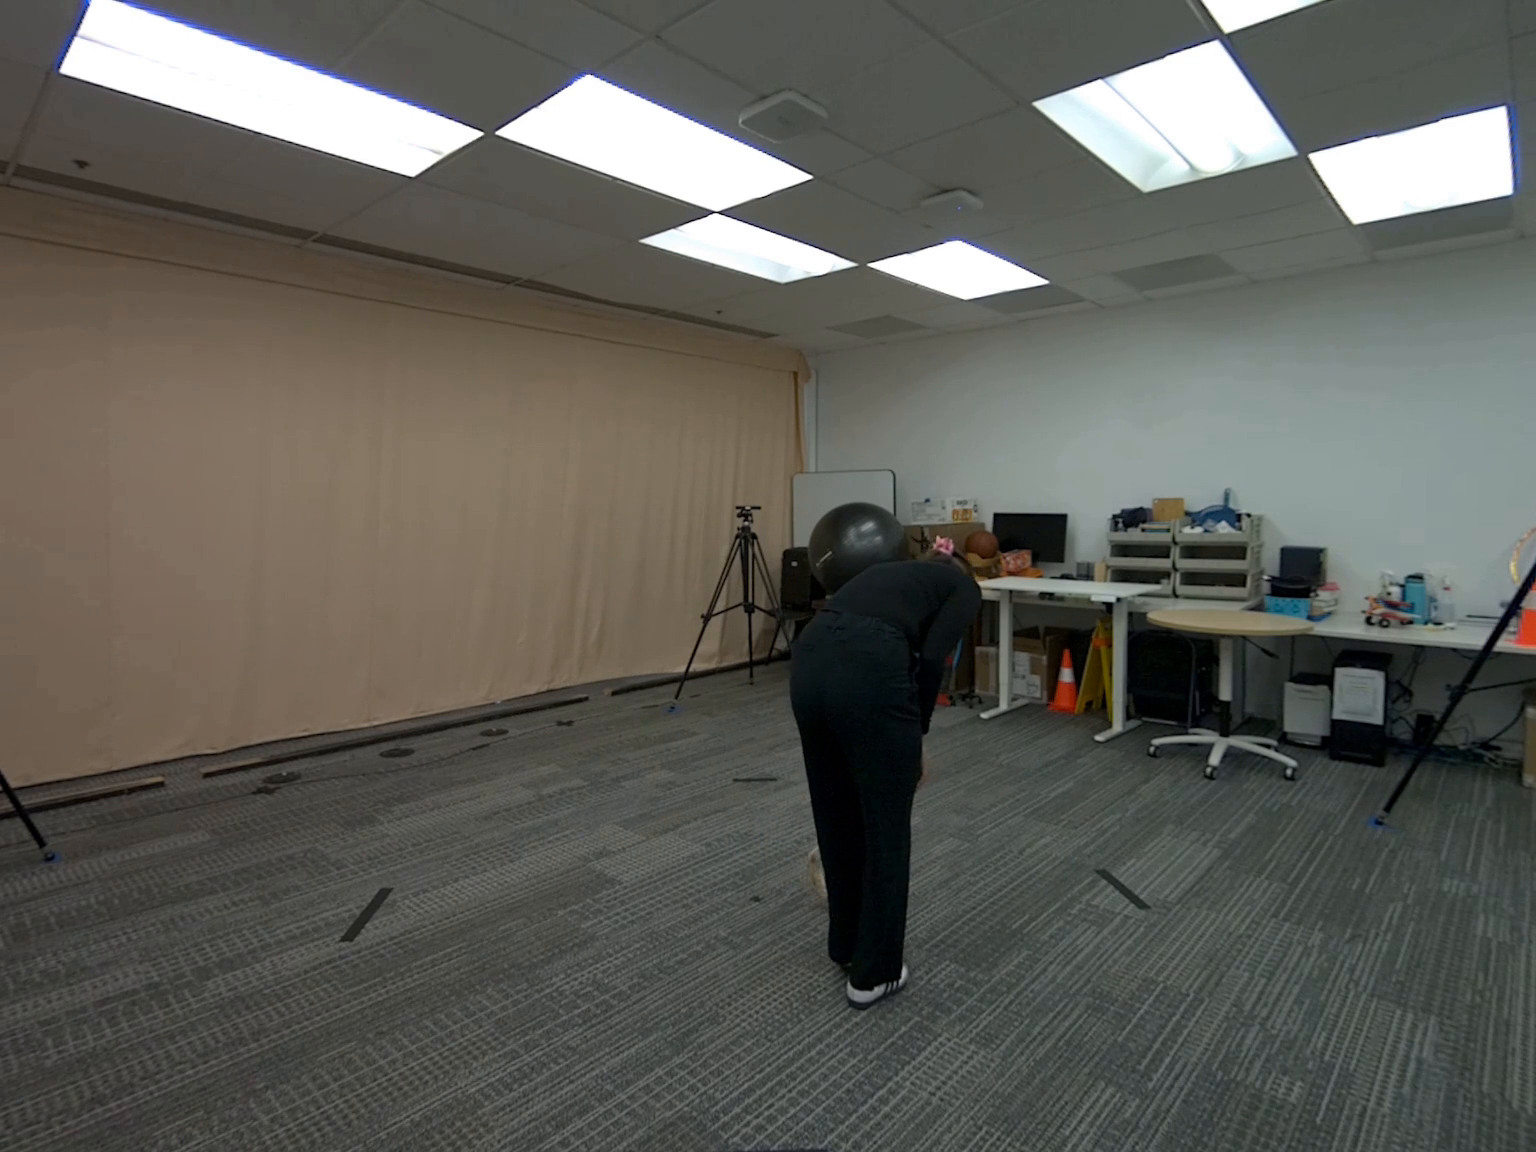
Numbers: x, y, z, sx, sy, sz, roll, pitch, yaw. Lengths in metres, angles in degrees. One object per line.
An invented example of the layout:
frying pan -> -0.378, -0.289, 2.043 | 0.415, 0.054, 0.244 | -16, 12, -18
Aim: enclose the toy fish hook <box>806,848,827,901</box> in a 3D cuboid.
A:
toy fish hook -> 0.290, 0.939, 2.811 | 0.047, 0.506, 0.231 | -14, 55, -45
